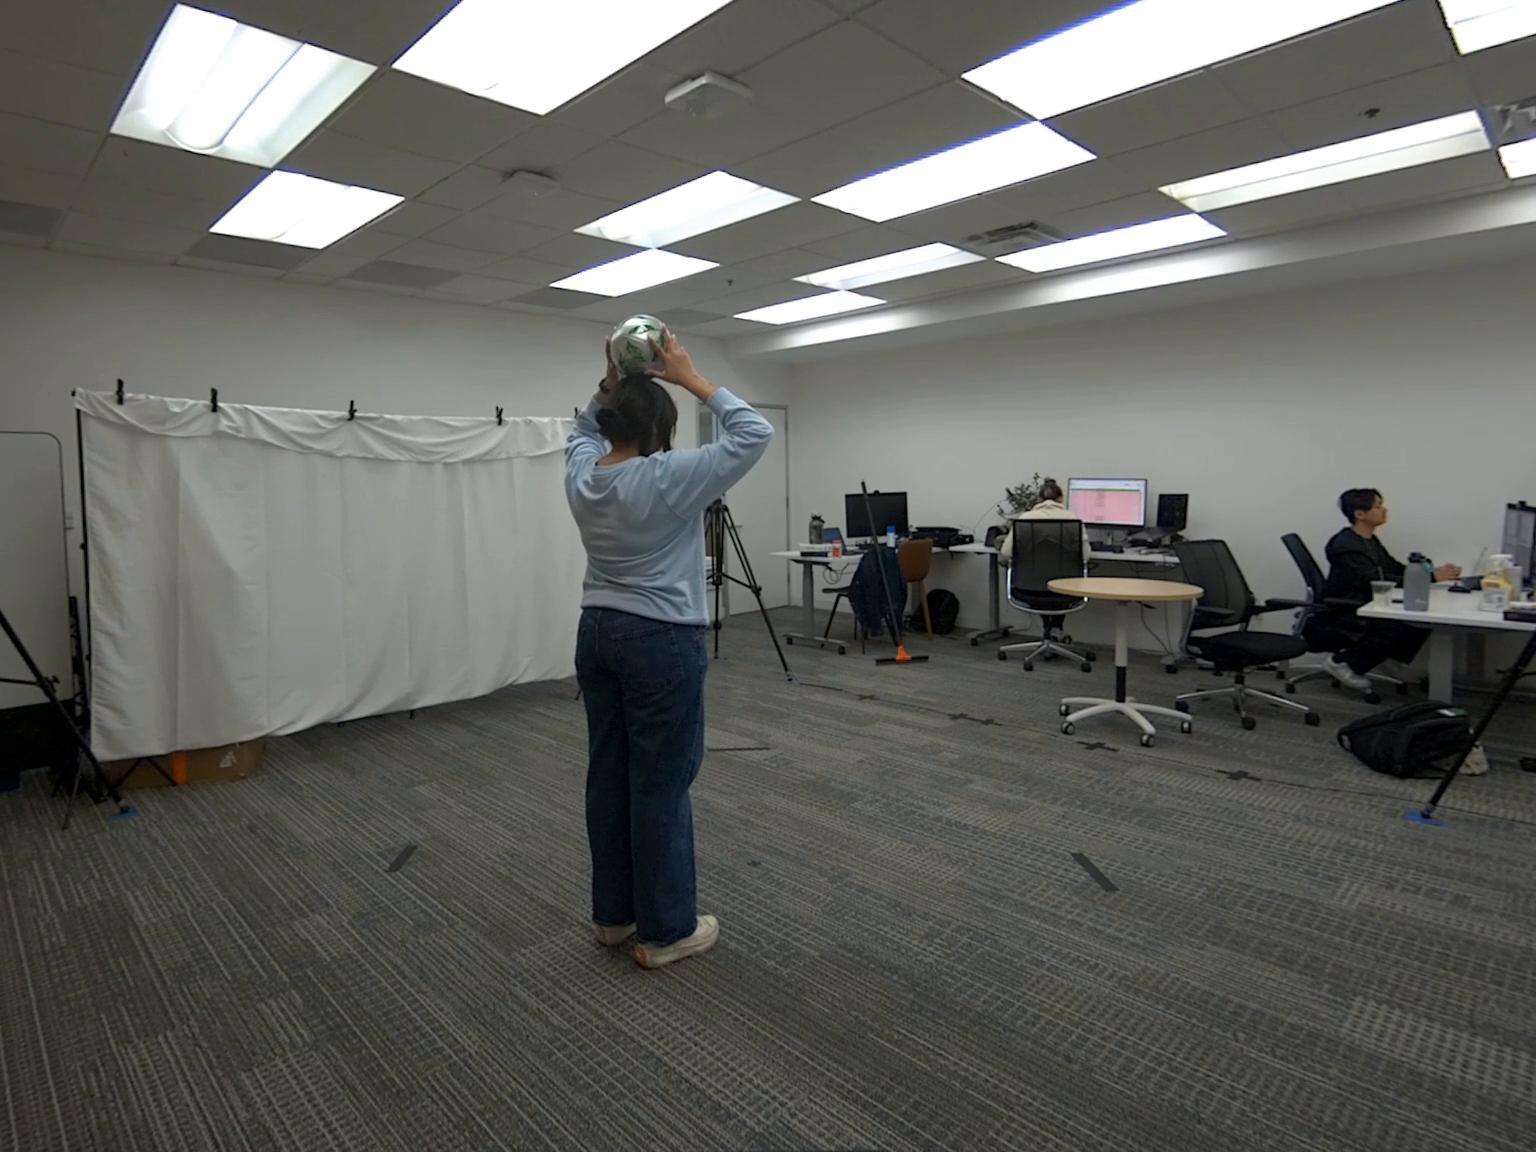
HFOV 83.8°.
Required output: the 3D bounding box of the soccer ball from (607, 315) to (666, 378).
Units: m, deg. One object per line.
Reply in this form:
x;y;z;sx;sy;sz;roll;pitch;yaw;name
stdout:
-0.362;-0.668;2.499;0.187;0.187;0.188;-1;5;-2;soccer ball
